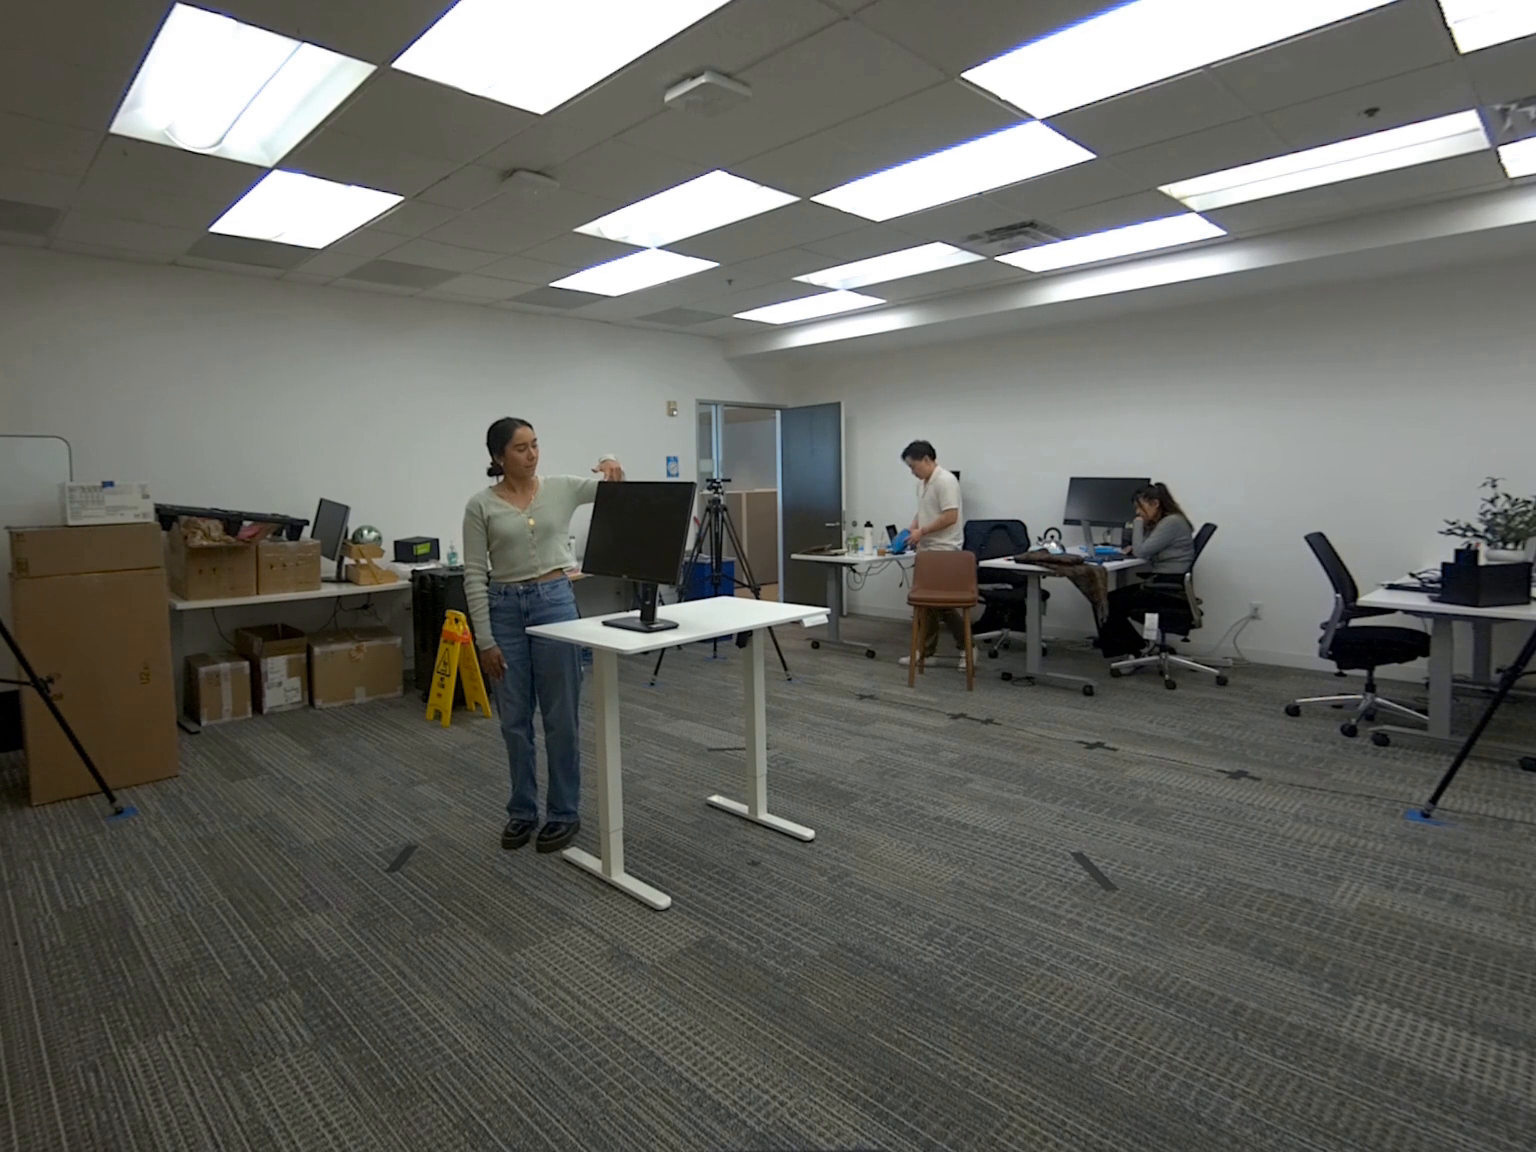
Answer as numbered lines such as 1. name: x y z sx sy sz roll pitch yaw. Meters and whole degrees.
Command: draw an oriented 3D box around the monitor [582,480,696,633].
1. monitor: -0.444 -0.072 3.032 0.556 0.521 0.182 4 4 42
